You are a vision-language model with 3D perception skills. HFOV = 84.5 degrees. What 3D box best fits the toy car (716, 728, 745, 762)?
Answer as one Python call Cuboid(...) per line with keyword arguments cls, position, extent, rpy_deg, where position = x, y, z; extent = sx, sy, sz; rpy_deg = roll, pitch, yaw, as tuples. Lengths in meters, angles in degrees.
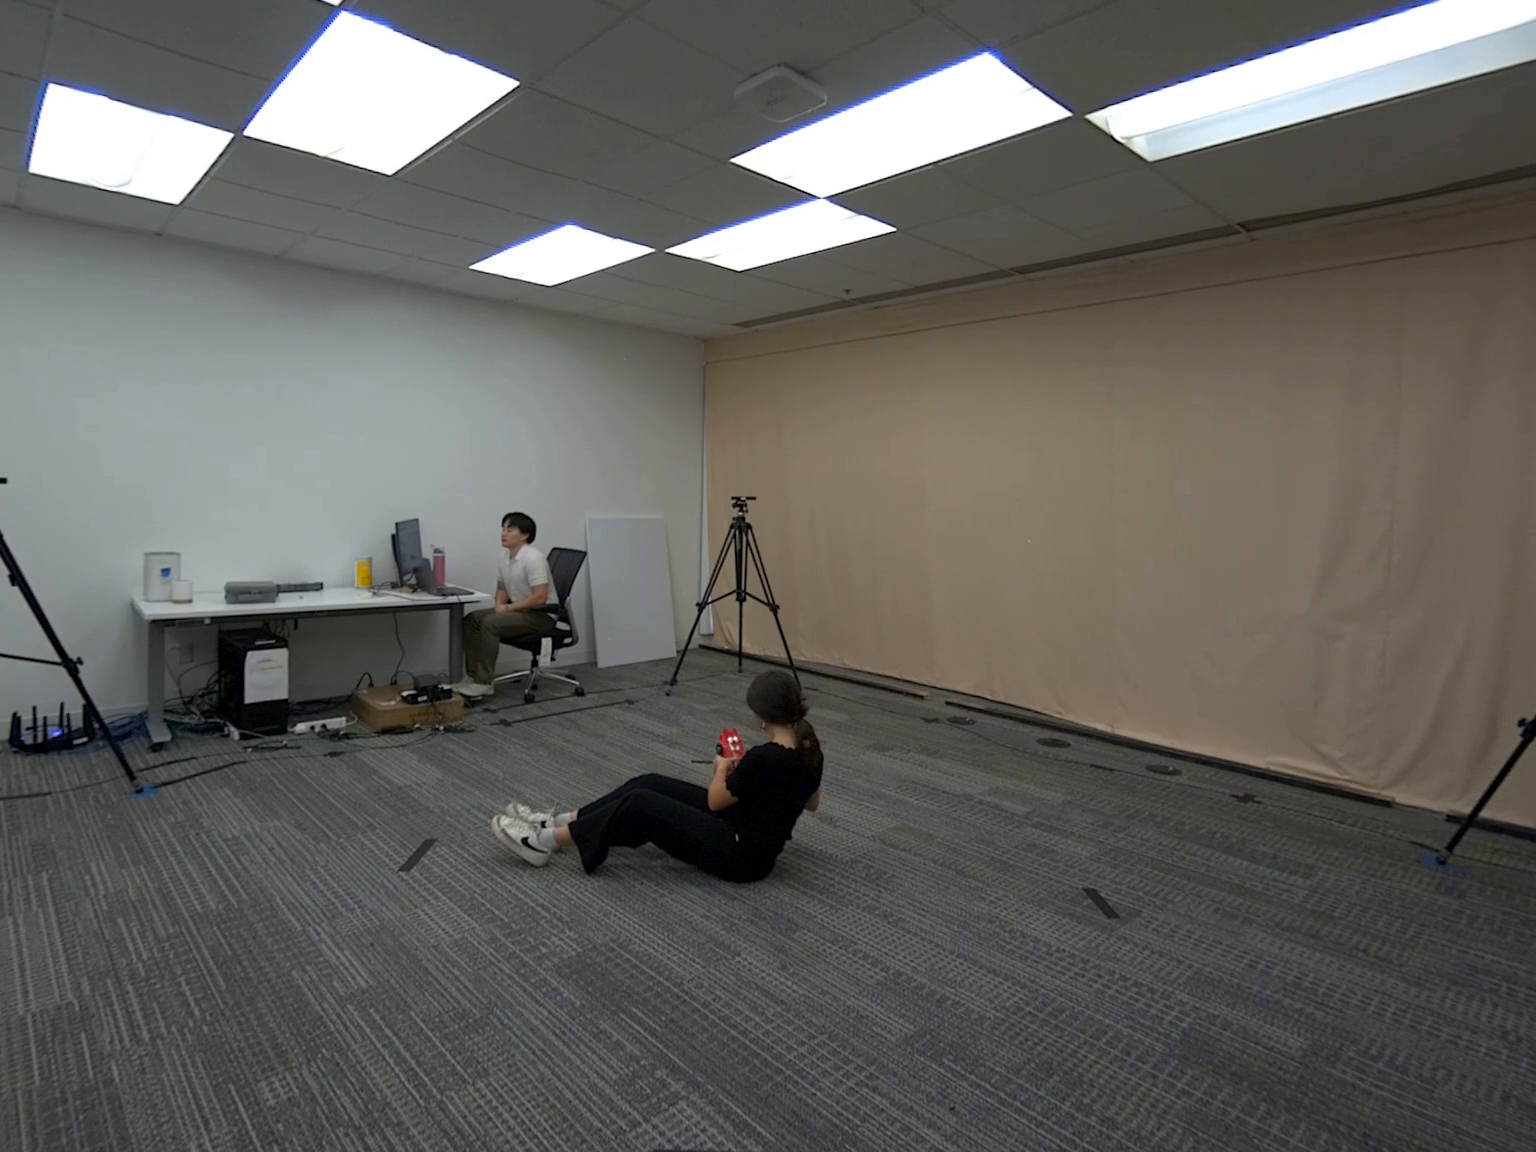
Cuboid(cls="toy car", position=(-0.148, 0.772, 3.495), extent=(0.127, 0.257, 0.084), rpy_deg=(2, -14, -38))
